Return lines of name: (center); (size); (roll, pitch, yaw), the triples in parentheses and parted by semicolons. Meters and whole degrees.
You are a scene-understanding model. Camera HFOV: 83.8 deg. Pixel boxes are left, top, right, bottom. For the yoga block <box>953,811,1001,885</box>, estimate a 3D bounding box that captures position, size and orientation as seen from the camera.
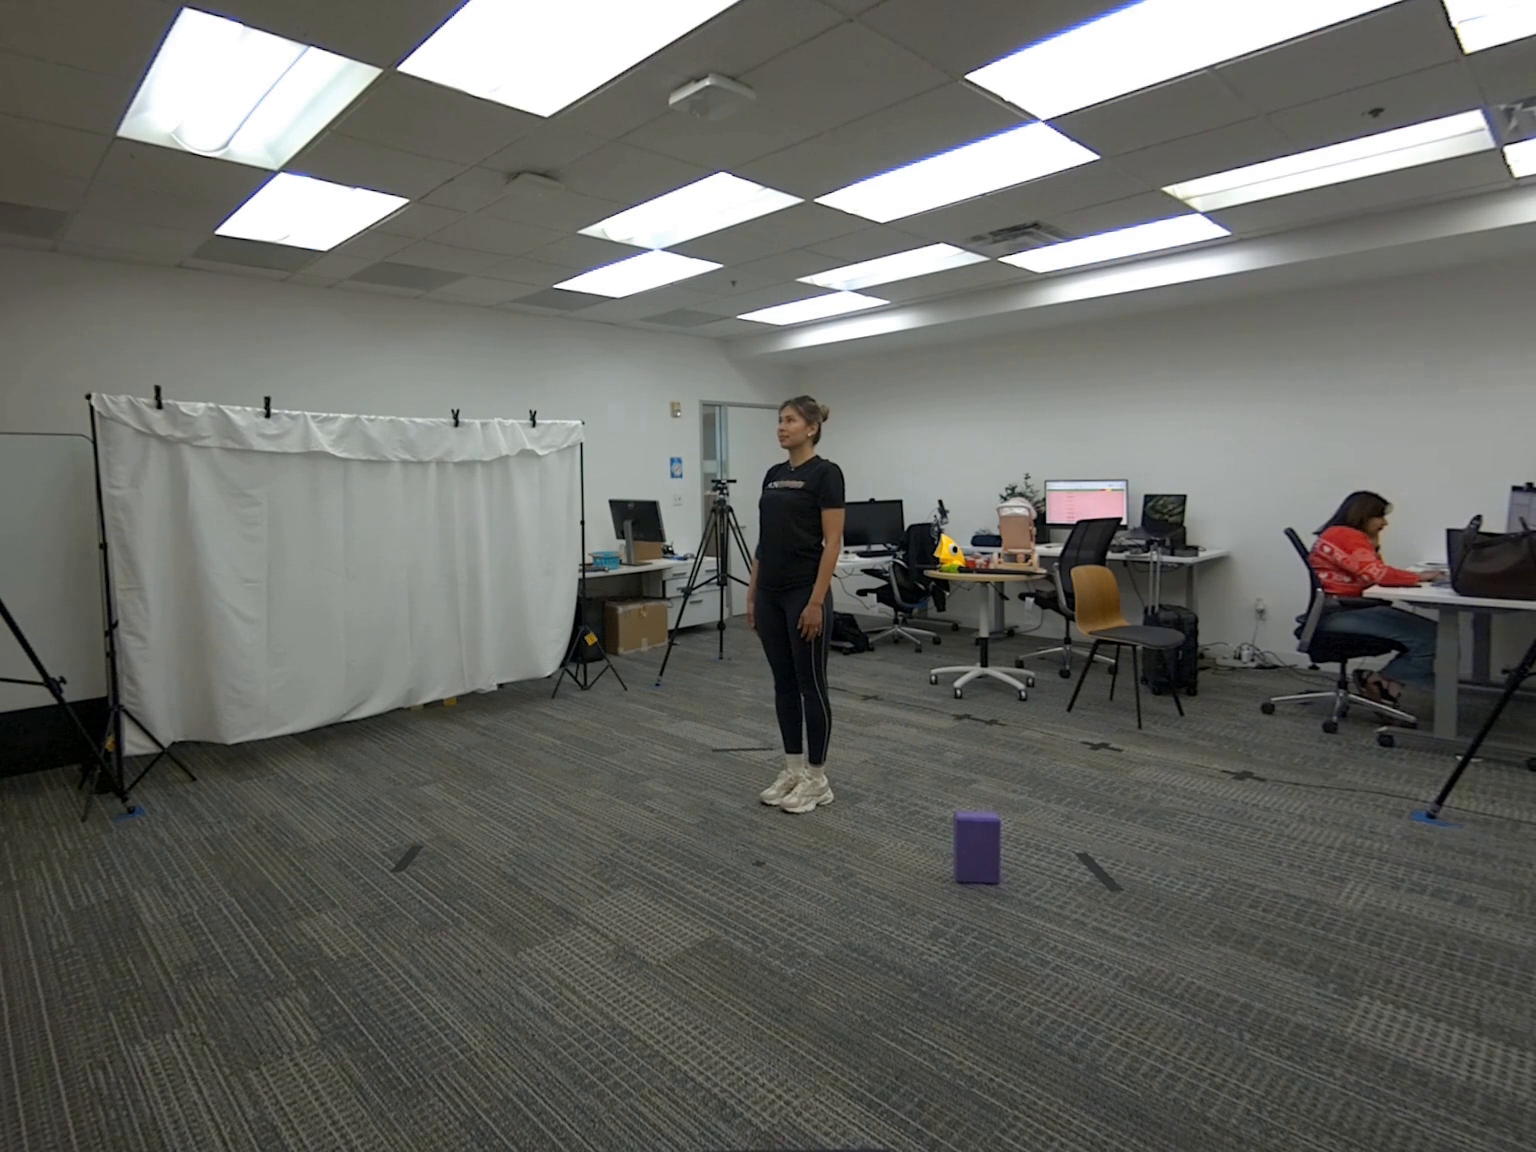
yoga block: (0.728, 0.937, 2.943); (0.150, 0.228, 0.076); (-1, 3, 7)
